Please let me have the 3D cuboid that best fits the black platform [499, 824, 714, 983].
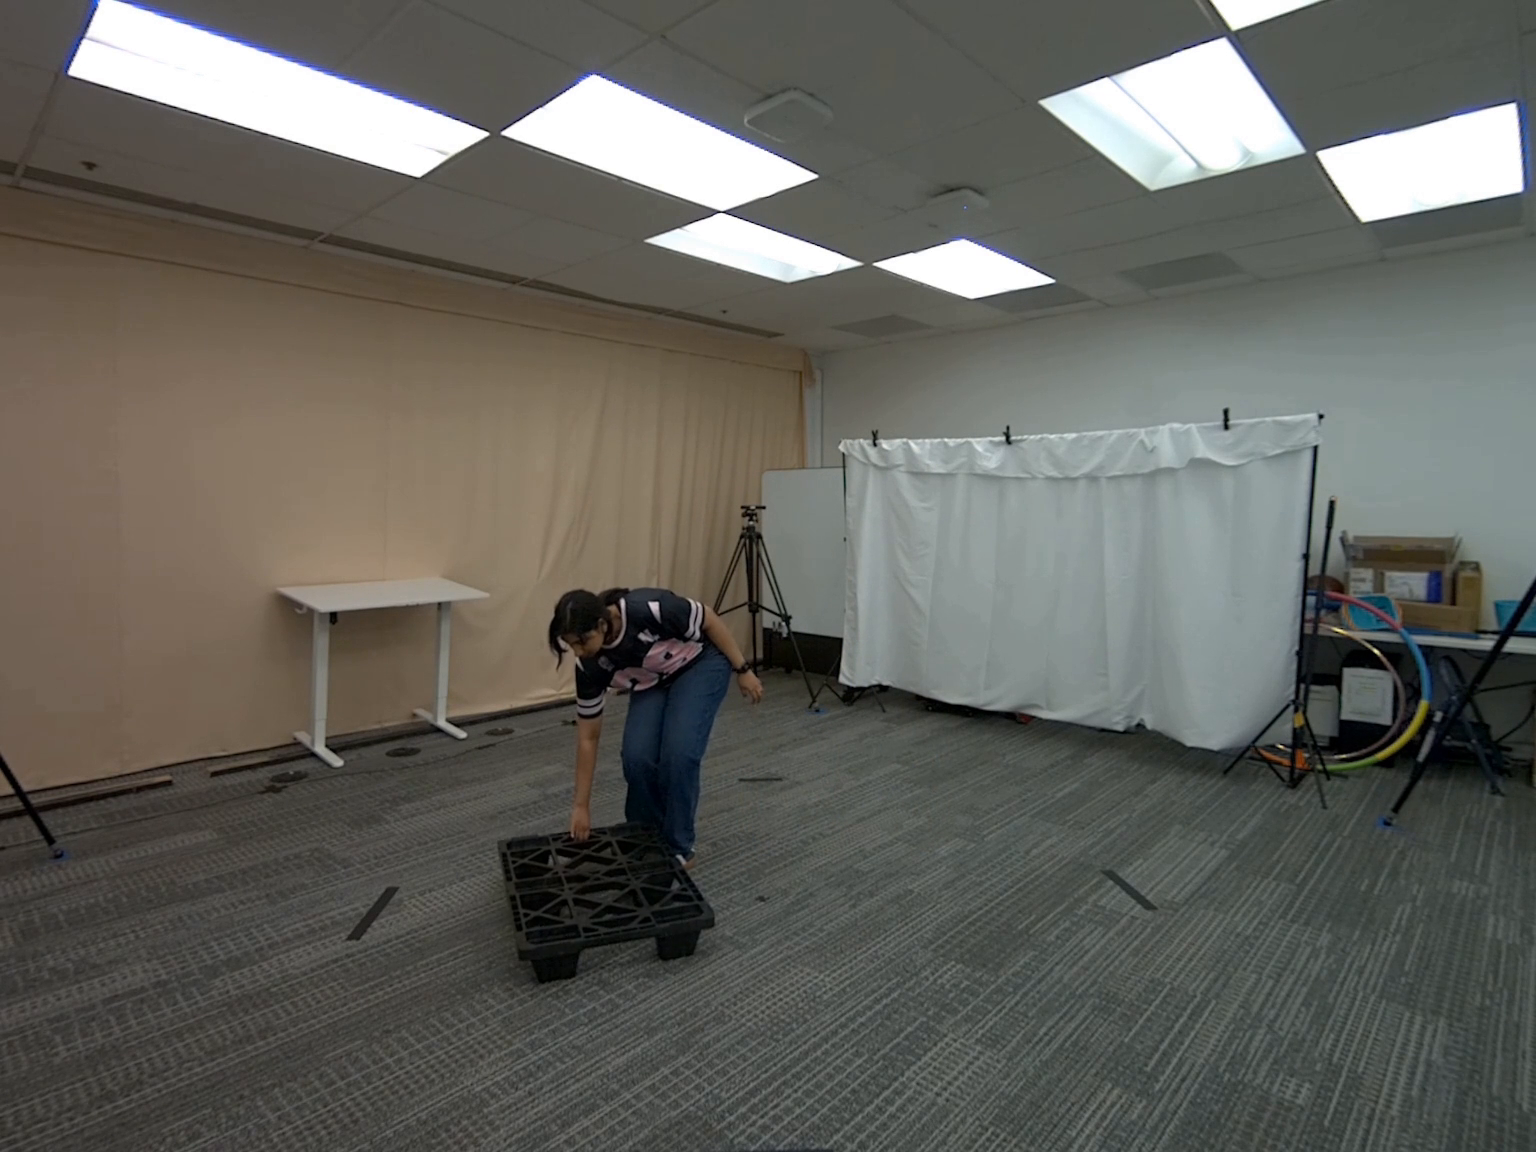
[{"bbox_3d":[-0.587,1.077,2.865,0.593,0.143,0.824,-3,7,-20],"label":"black platform"}]
